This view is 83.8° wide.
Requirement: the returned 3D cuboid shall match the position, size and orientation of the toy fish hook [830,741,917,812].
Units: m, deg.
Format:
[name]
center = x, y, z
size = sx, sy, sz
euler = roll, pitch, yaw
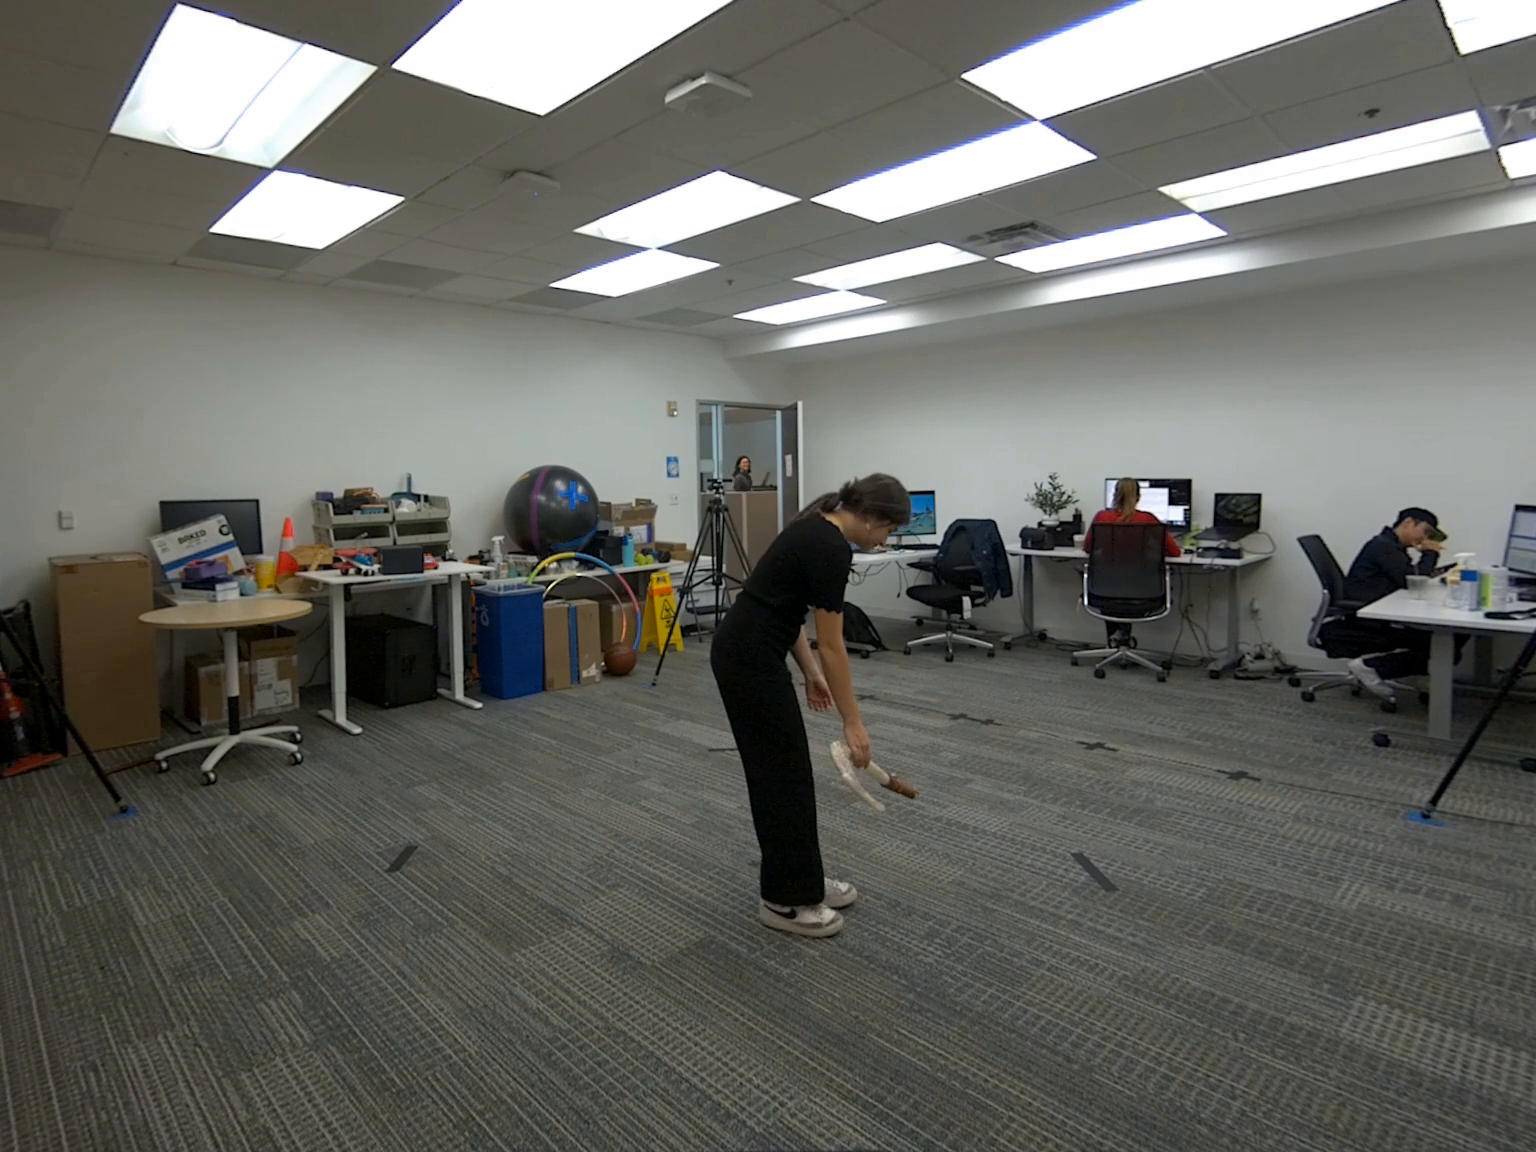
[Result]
[toy fish hook]
center = 0.345, 0.648, 2.596
size = 0.048, 0.232, 0.487
euler = -38, -45, 19
